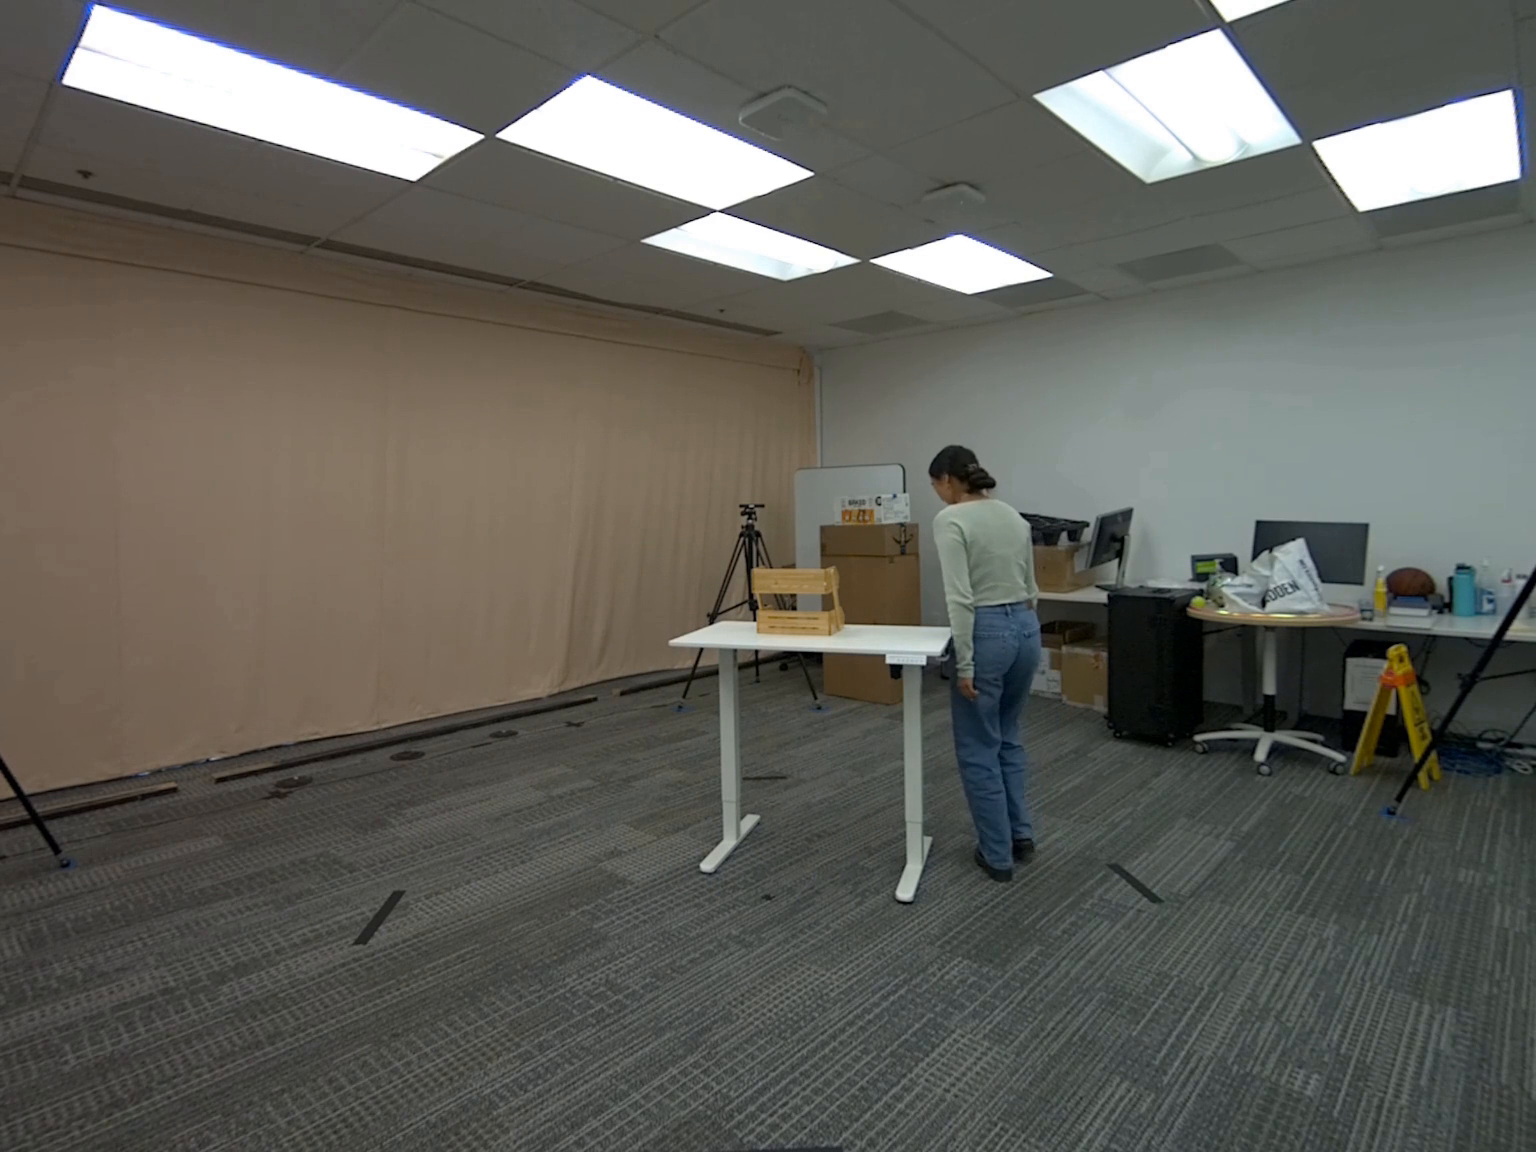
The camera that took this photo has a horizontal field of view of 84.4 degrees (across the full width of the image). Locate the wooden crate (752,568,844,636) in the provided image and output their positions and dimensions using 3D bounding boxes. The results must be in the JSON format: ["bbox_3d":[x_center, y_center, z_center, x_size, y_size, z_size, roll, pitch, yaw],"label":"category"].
[{"bbox_3d":[0.128,0.090,3.387,0.331,0.273,0.297,0,4,17],"label":"wooden crate"}]
